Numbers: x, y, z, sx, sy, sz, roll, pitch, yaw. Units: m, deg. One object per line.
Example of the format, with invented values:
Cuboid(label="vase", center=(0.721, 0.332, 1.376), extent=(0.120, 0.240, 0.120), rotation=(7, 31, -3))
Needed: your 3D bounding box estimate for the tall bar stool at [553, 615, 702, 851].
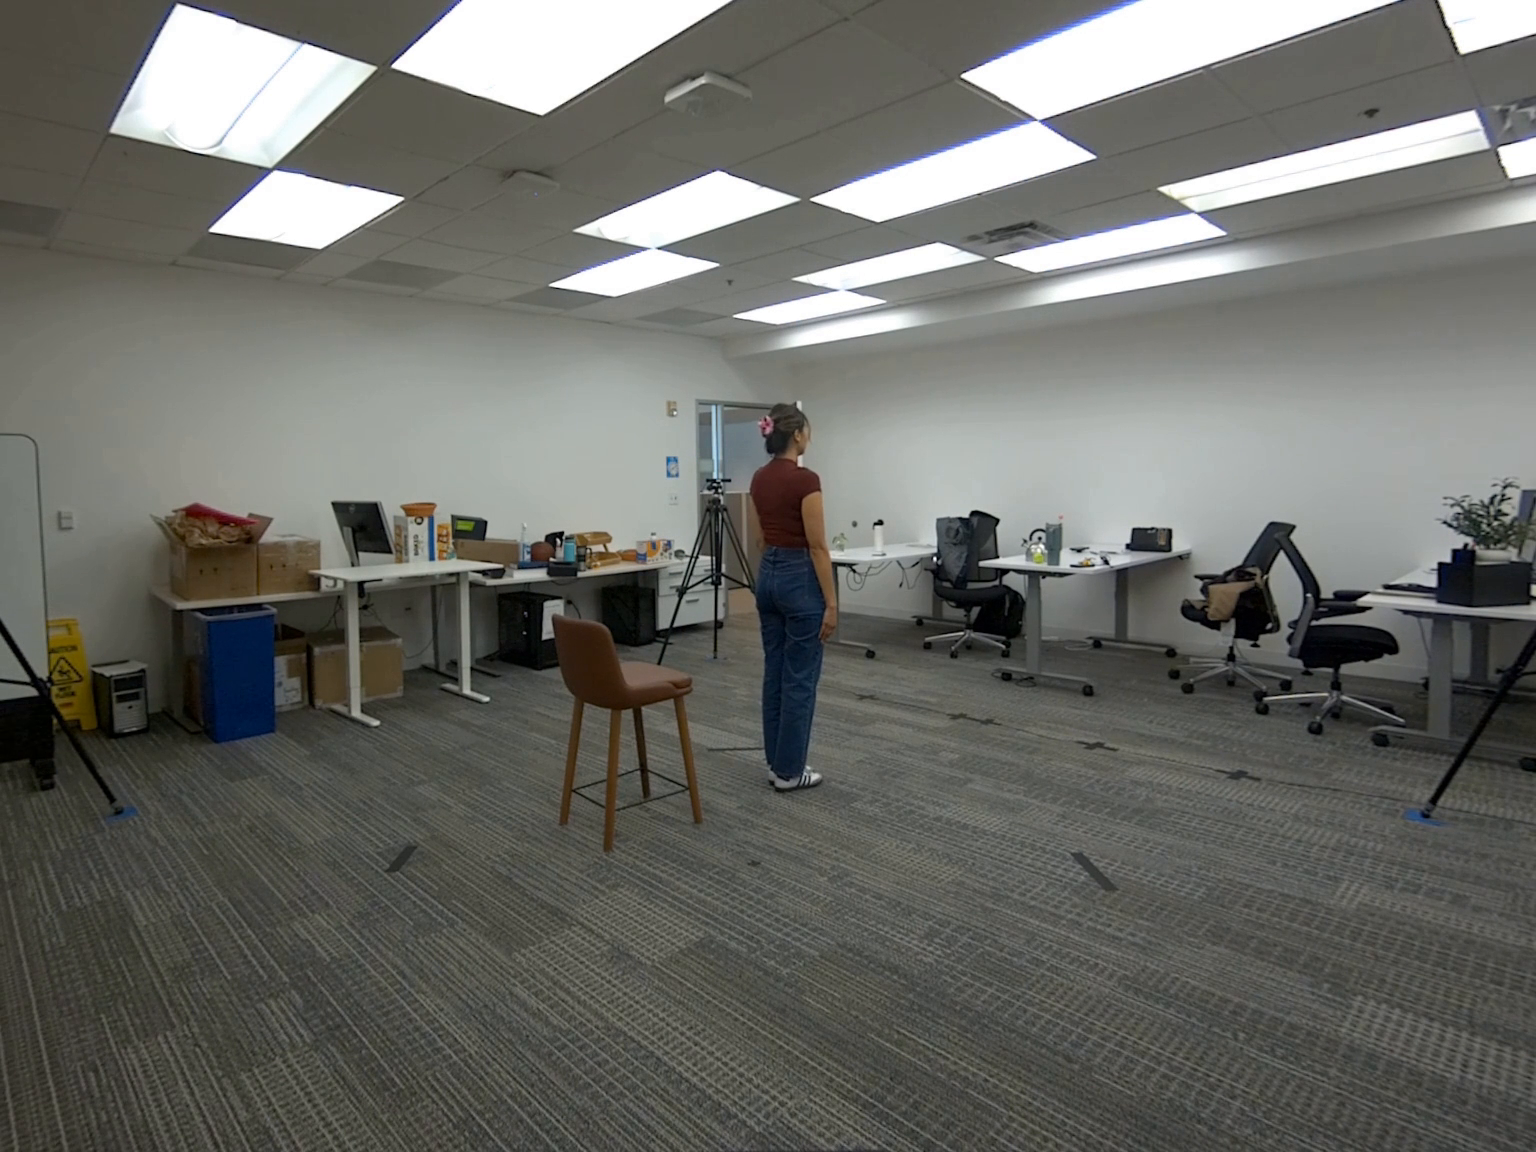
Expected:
Cuboid(label="tall bar stool", center=(-0.583, 0.579, 3.476), extent=(0.456, 0.886, 0.470), rotation=(-6, 6, -41))
